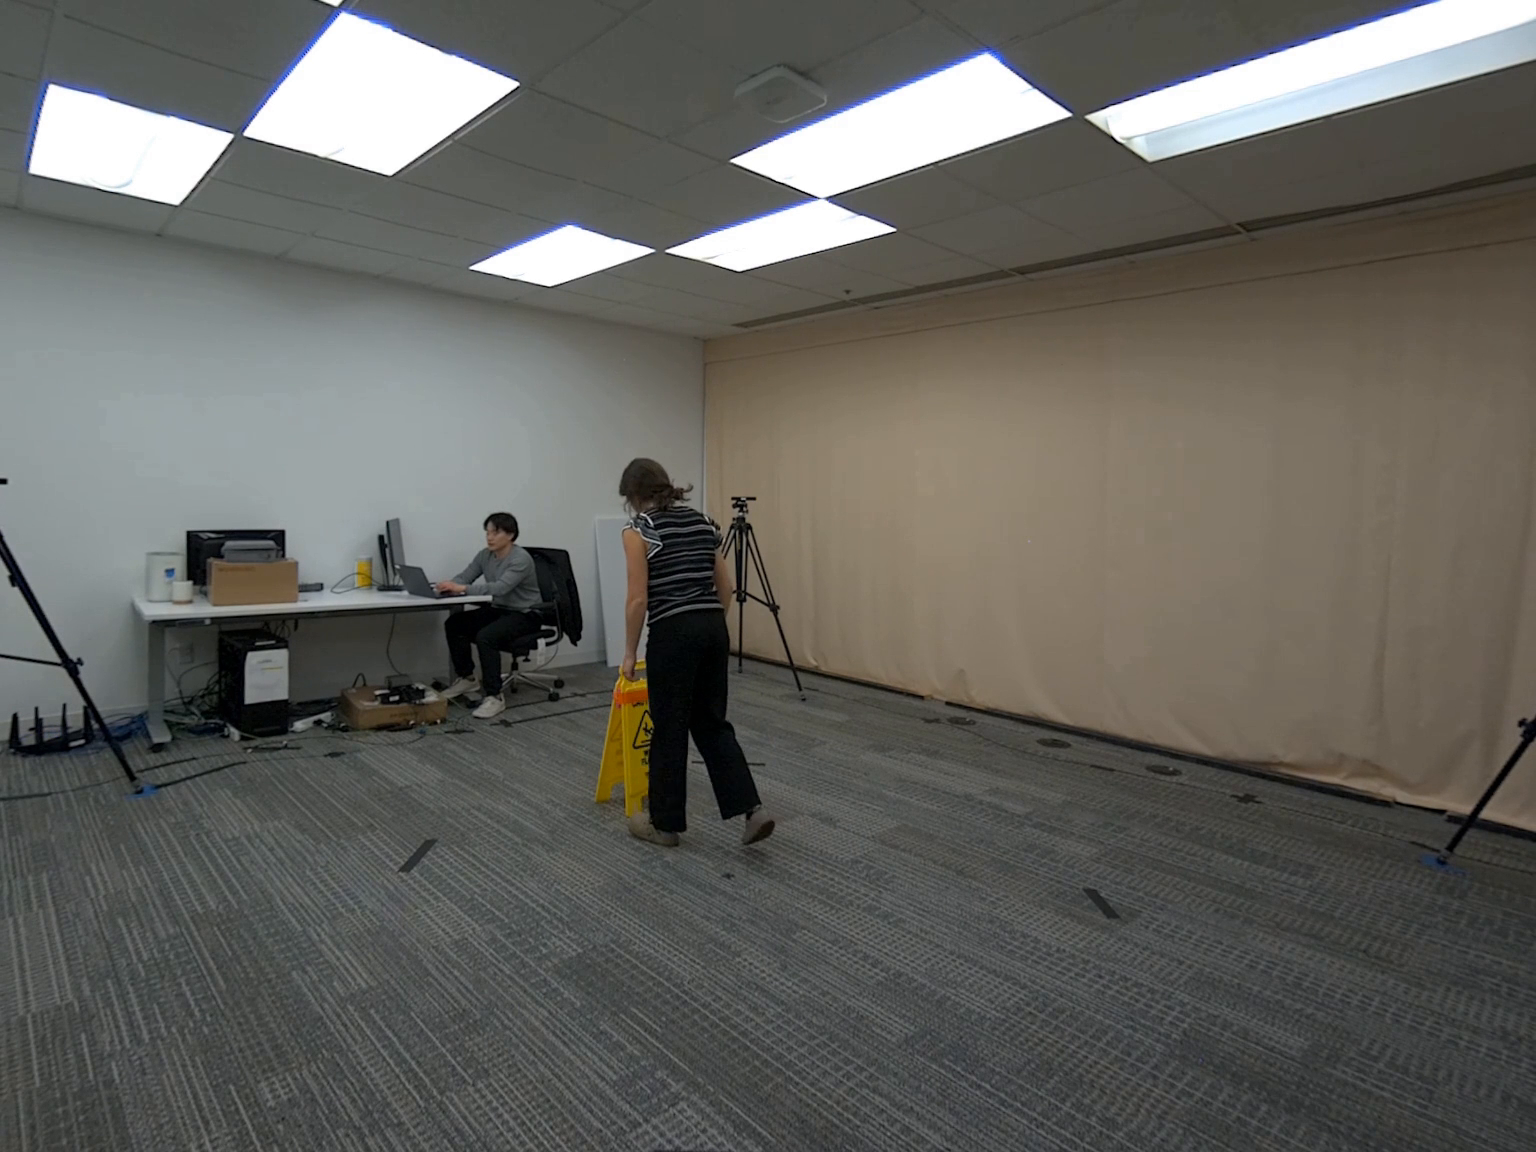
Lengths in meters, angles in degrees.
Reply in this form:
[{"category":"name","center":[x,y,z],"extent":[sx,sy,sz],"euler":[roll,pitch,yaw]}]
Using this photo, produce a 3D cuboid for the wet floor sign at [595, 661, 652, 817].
[{"category":"wet floor sign","center":[-0.602,0.710,3.814],"extent":[0.297,0.645,0.275],"euler":[3,3,44]}]
